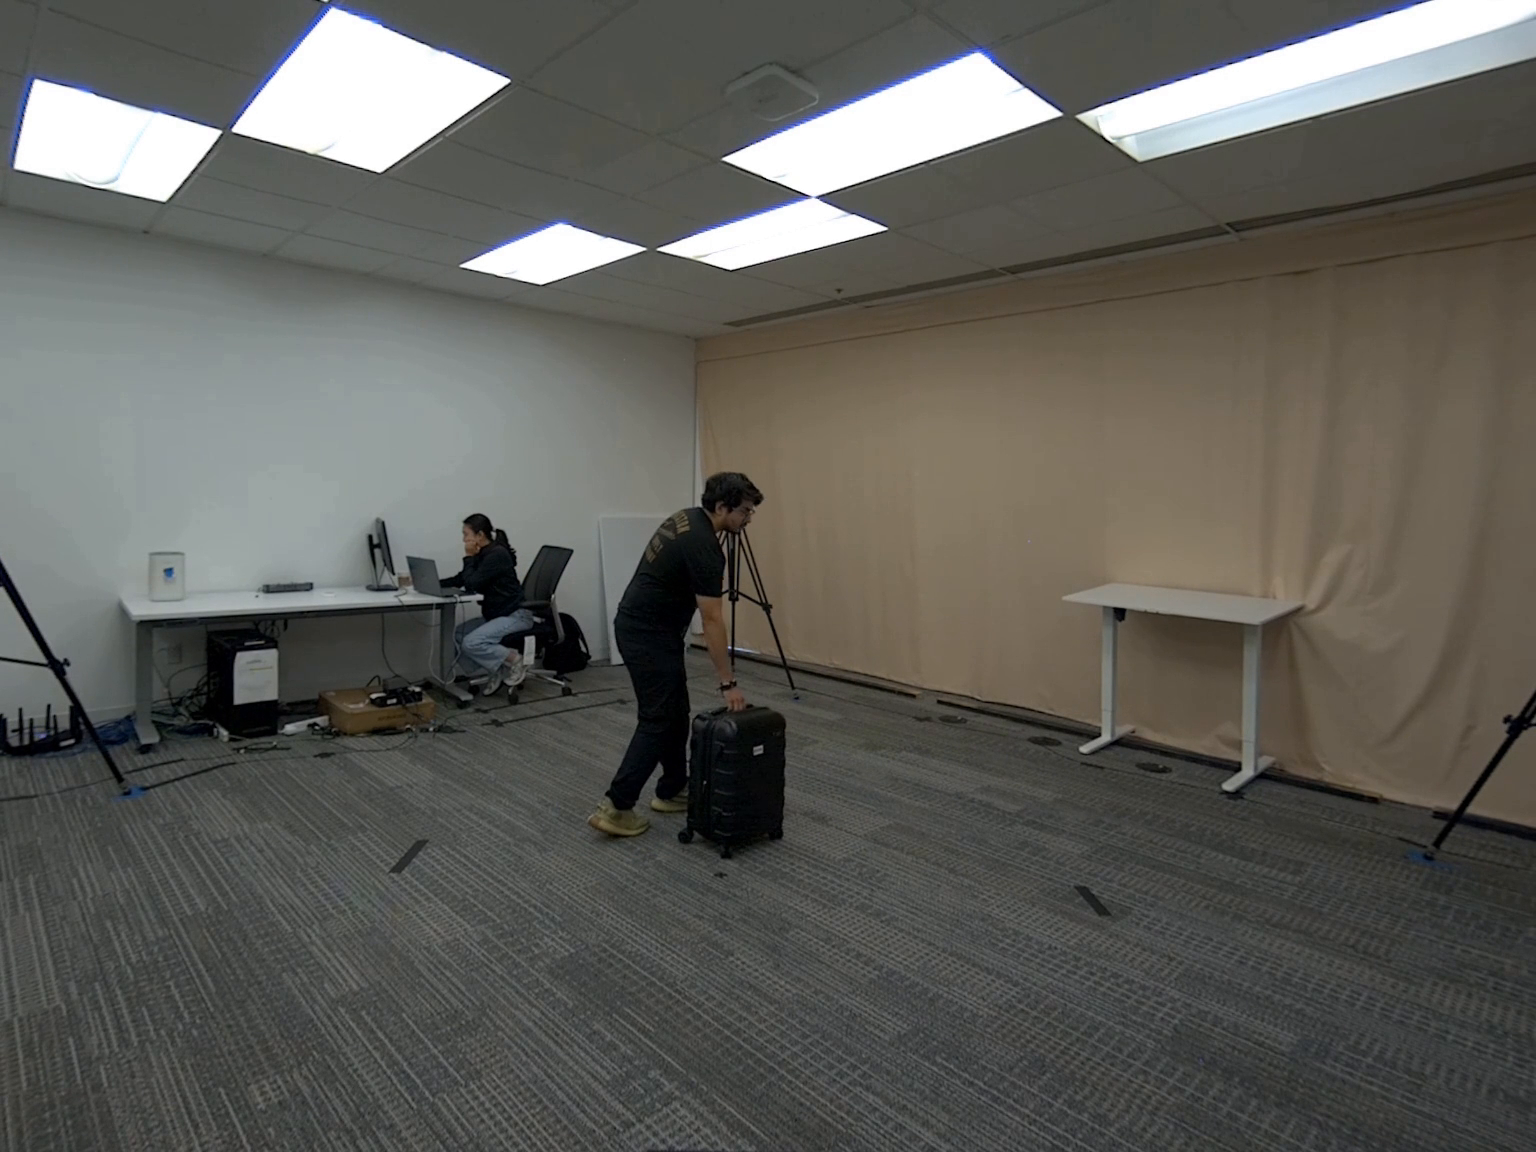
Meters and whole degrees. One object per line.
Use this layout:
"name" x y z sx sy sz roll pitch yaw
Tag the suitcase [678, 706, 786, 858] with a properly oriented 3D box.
"suitcase" -0.136 0.806 3.396 0.255 0.547 0.367 8 8 43
